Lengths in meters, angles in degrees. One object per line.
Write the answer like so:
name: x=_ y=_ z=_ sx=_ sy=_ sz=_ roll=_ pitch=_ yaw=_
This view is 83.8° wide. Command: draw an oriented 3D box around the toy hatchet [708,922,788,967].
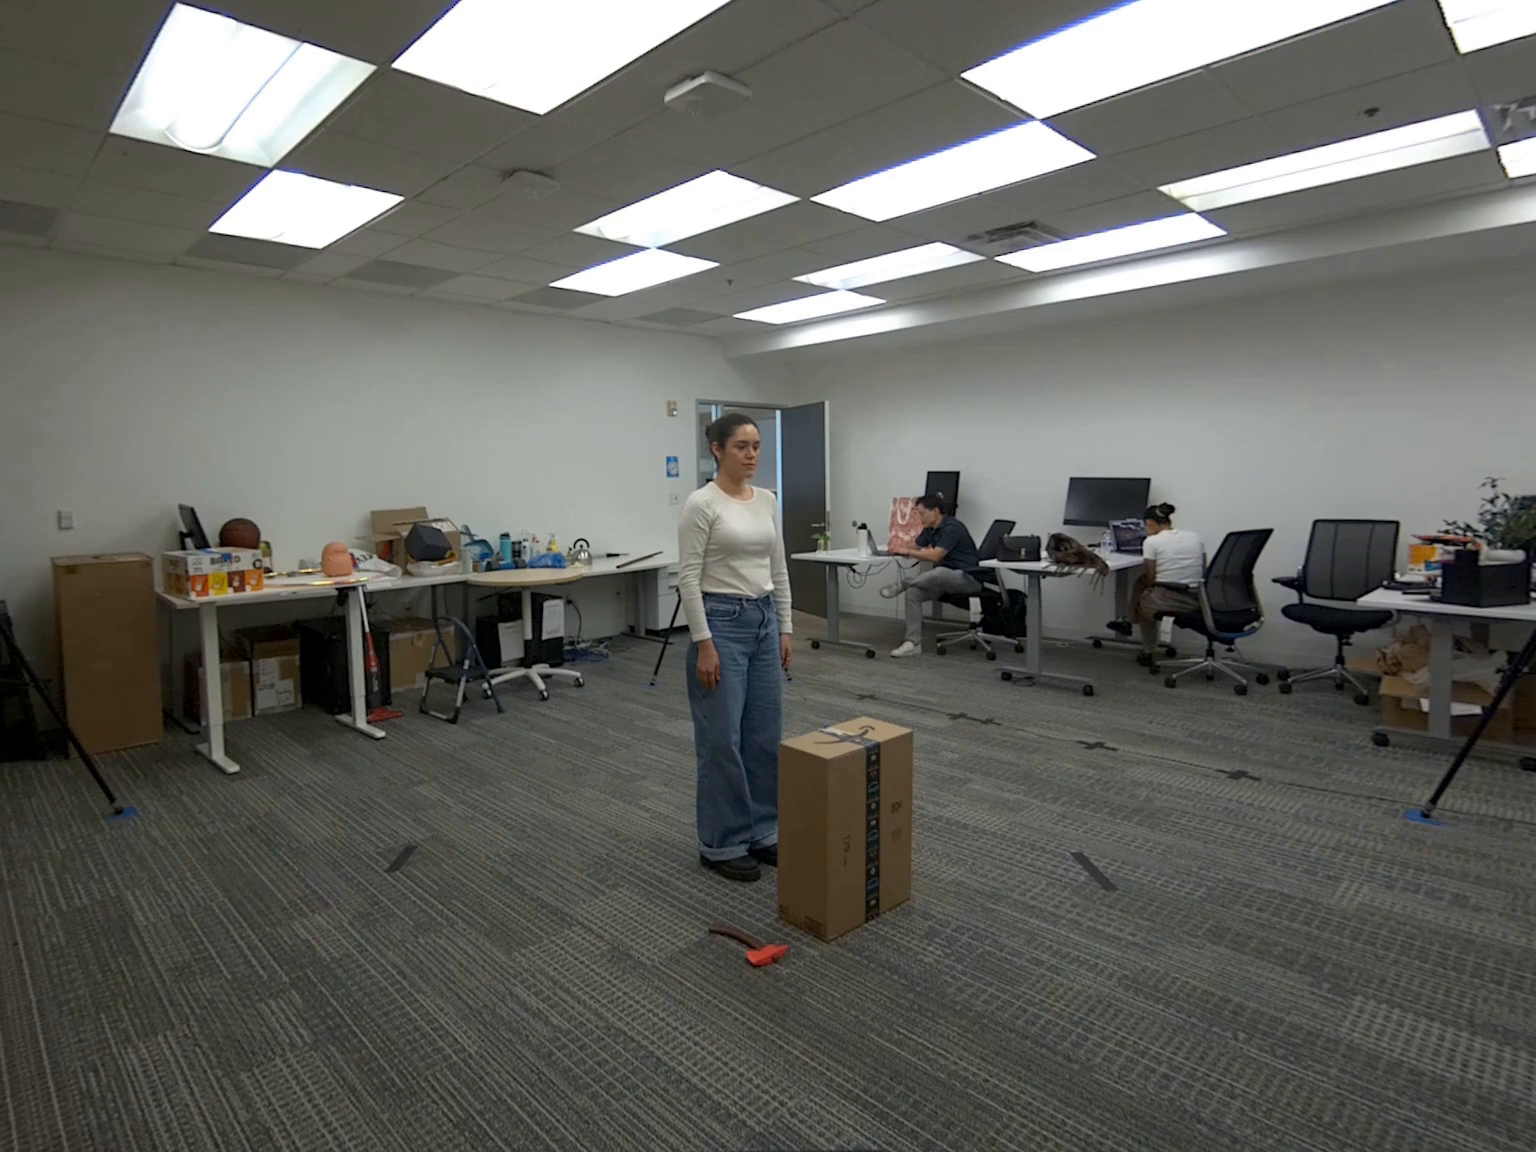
toy hatchet: x=-0.081 y=1.103 z=2.542 sx=0.277 sy=0.029 sz=0.128 roll=2 pitch=9 yaw=33
